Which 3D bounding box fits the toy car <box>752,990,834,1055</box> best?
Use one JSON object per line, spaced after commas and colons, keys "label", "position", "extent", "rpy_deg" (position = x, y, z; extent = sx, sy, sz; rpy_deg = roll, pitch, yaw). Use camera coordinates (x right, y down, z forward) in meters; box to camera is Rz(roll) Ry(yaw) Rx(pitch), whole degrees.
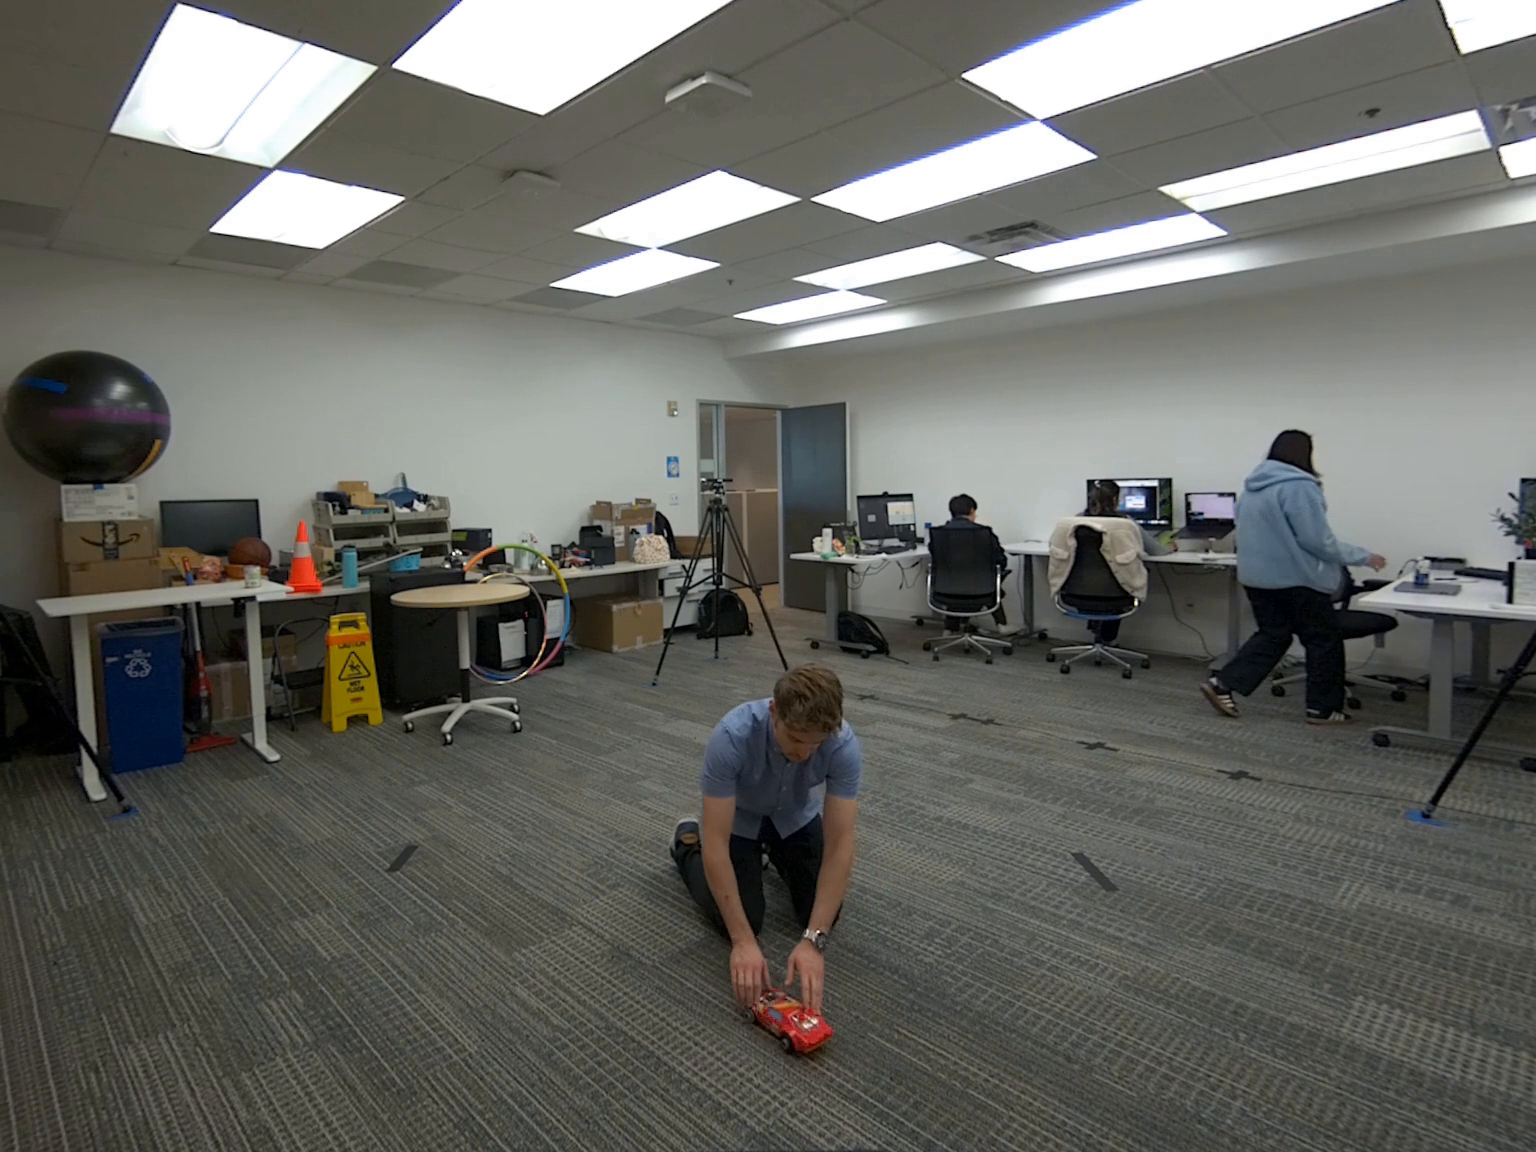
{"label": "toy car", "position": [0.063, 1.128, 2.155], "extent": [0.127, 0.083, 0.260], "rpy_deg": [-6, -3, -37]}
